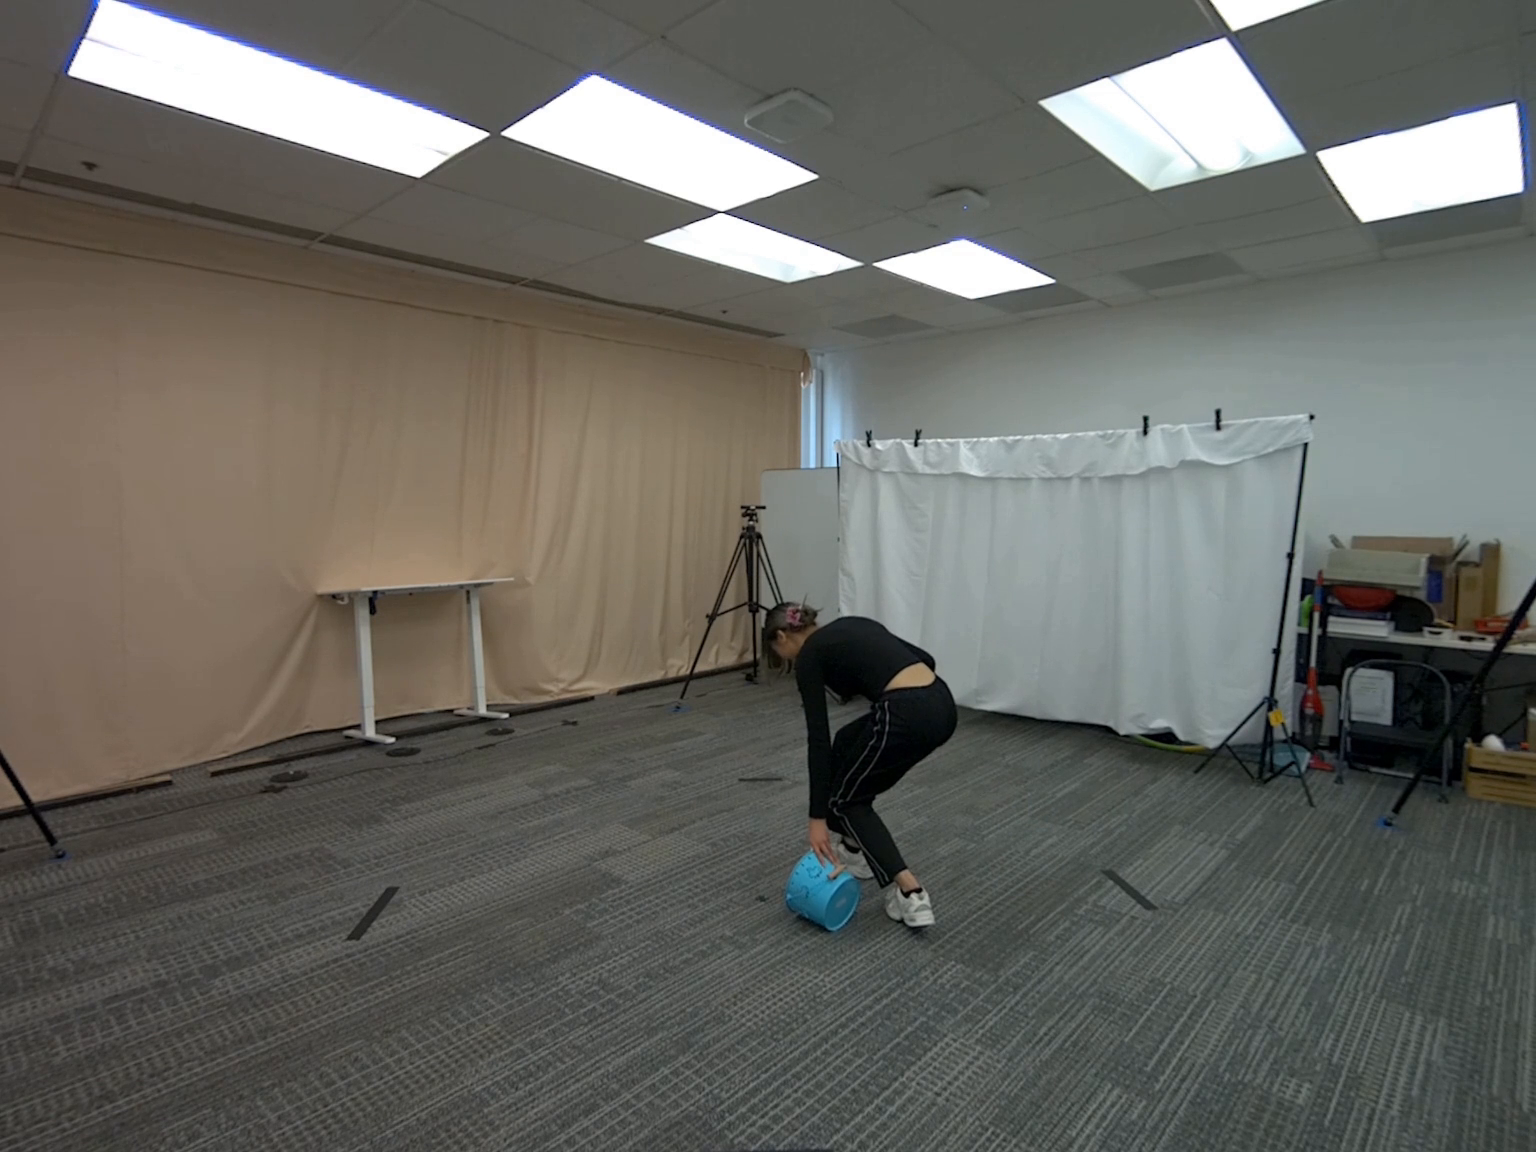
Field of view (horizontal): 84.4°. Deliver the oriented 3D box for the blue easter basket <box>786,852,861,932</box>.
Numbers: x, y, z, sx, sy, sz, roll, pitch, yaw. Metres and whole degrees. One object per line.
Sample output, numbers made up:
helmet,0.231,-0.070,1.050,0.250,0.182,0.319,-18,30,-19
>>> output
blue easter basket,0.185,1.044,2.815,0.236,0.242,0.161,-4,17,-45
